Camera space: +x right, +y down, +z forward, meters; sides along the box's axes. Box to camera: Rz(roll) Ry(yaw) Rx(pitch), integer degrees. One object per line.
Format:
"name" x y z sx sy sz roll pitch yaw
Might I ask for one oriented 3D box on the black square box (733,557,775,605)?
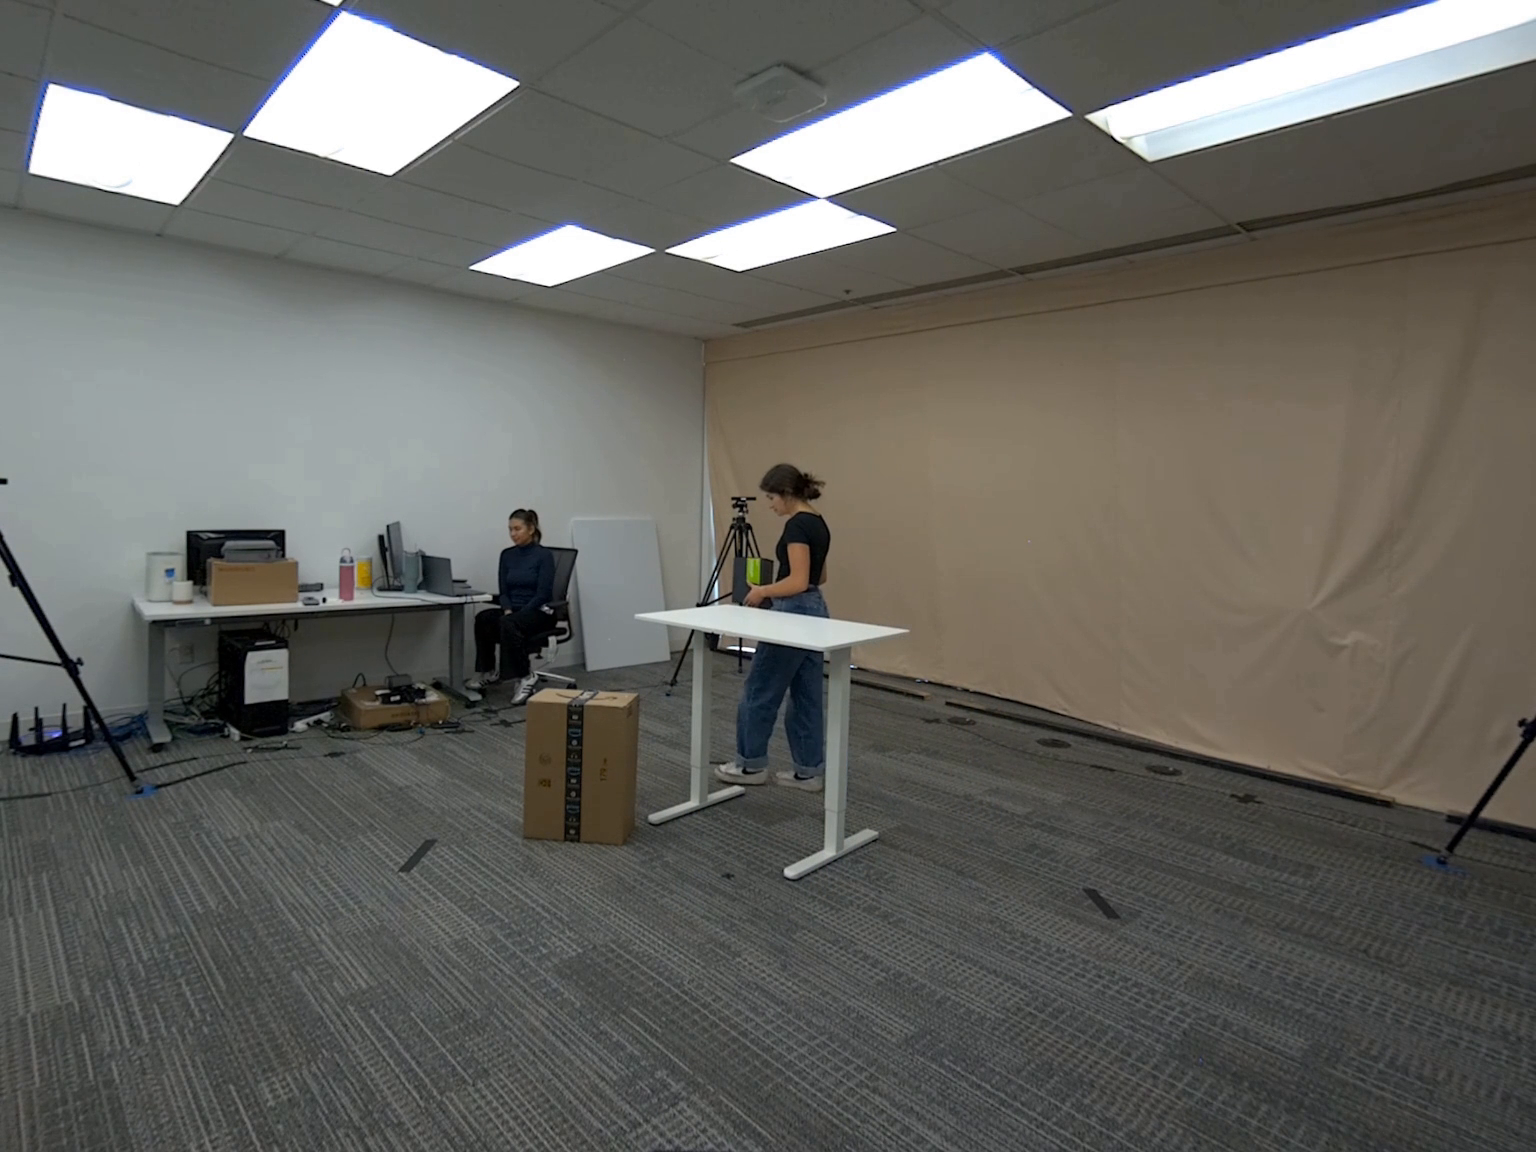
"black square box" -0.069 0.024 4.191 0.157 0.228 0.214 0 -2 12
